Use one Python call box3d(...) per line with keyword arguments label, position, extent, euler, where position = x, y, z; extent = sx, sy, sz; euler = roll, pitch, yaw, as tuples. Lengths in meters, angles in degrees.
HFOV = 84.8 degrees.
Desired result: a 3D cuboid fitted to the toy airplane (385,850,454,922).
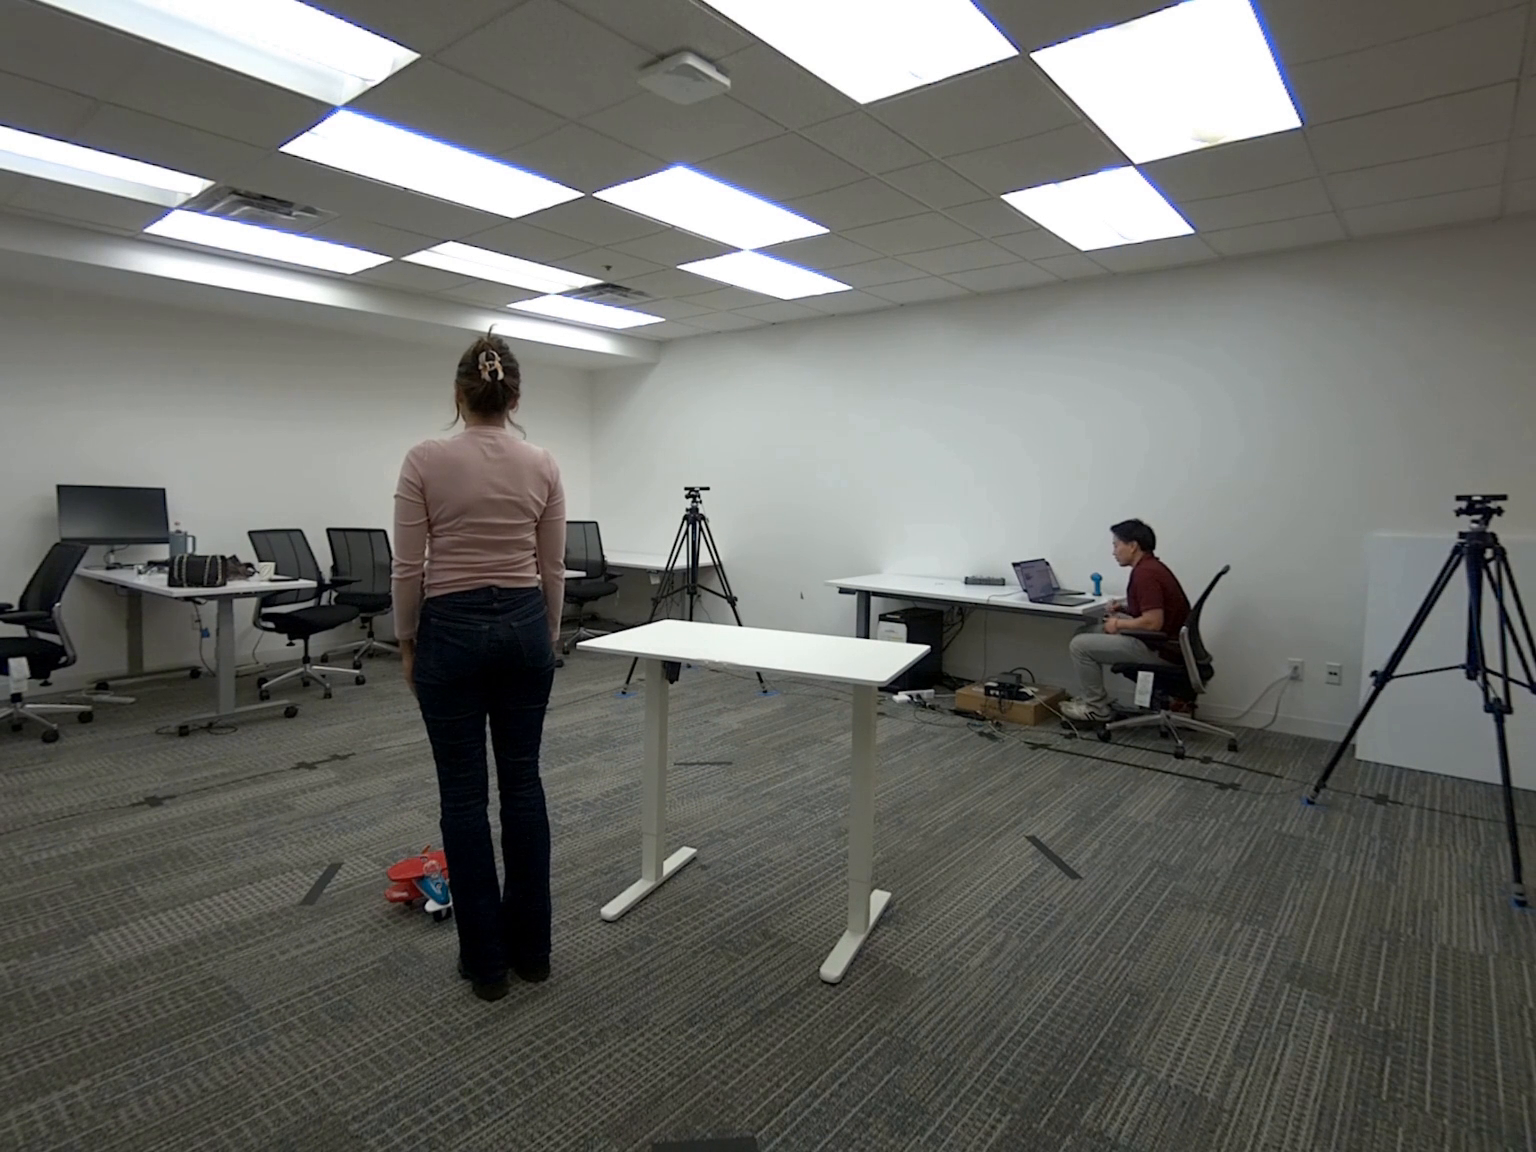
box3d(label="toy airplane", position=(-1.112, 1.012, 2.807), extent=(0.264, 0.156, 0.247), euler=(1, 5, 19))
